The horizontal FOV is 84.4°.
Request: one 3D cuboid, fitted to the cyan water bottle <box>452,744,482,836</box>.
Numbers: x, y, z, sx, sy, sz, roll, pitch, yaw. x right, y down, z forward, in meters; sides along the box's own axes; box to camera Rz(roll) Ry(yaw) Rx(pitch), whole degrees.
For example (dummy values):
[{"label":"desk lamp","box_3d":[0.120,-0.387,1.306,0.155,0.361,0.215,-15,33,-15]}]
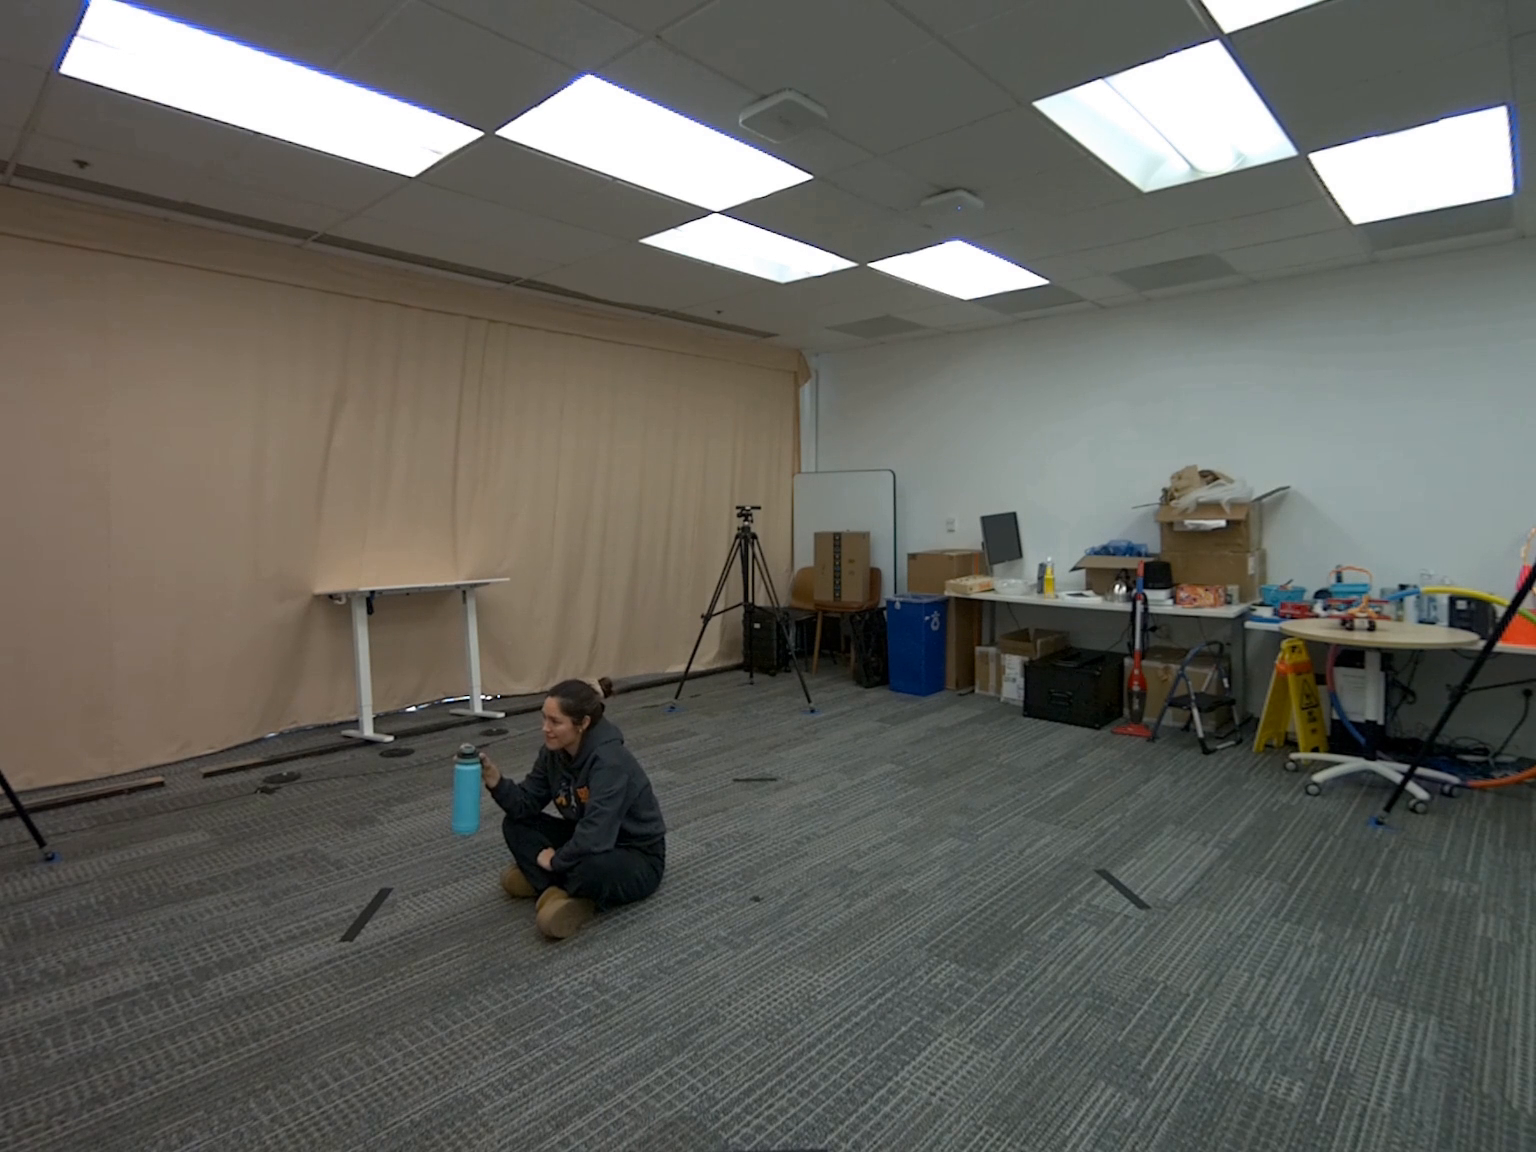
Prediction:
[{"label":"cyan water bottle","box_3d":[-1.000,0.730,2.854,0.092,0.283,0.092,0,1,-2]}]
